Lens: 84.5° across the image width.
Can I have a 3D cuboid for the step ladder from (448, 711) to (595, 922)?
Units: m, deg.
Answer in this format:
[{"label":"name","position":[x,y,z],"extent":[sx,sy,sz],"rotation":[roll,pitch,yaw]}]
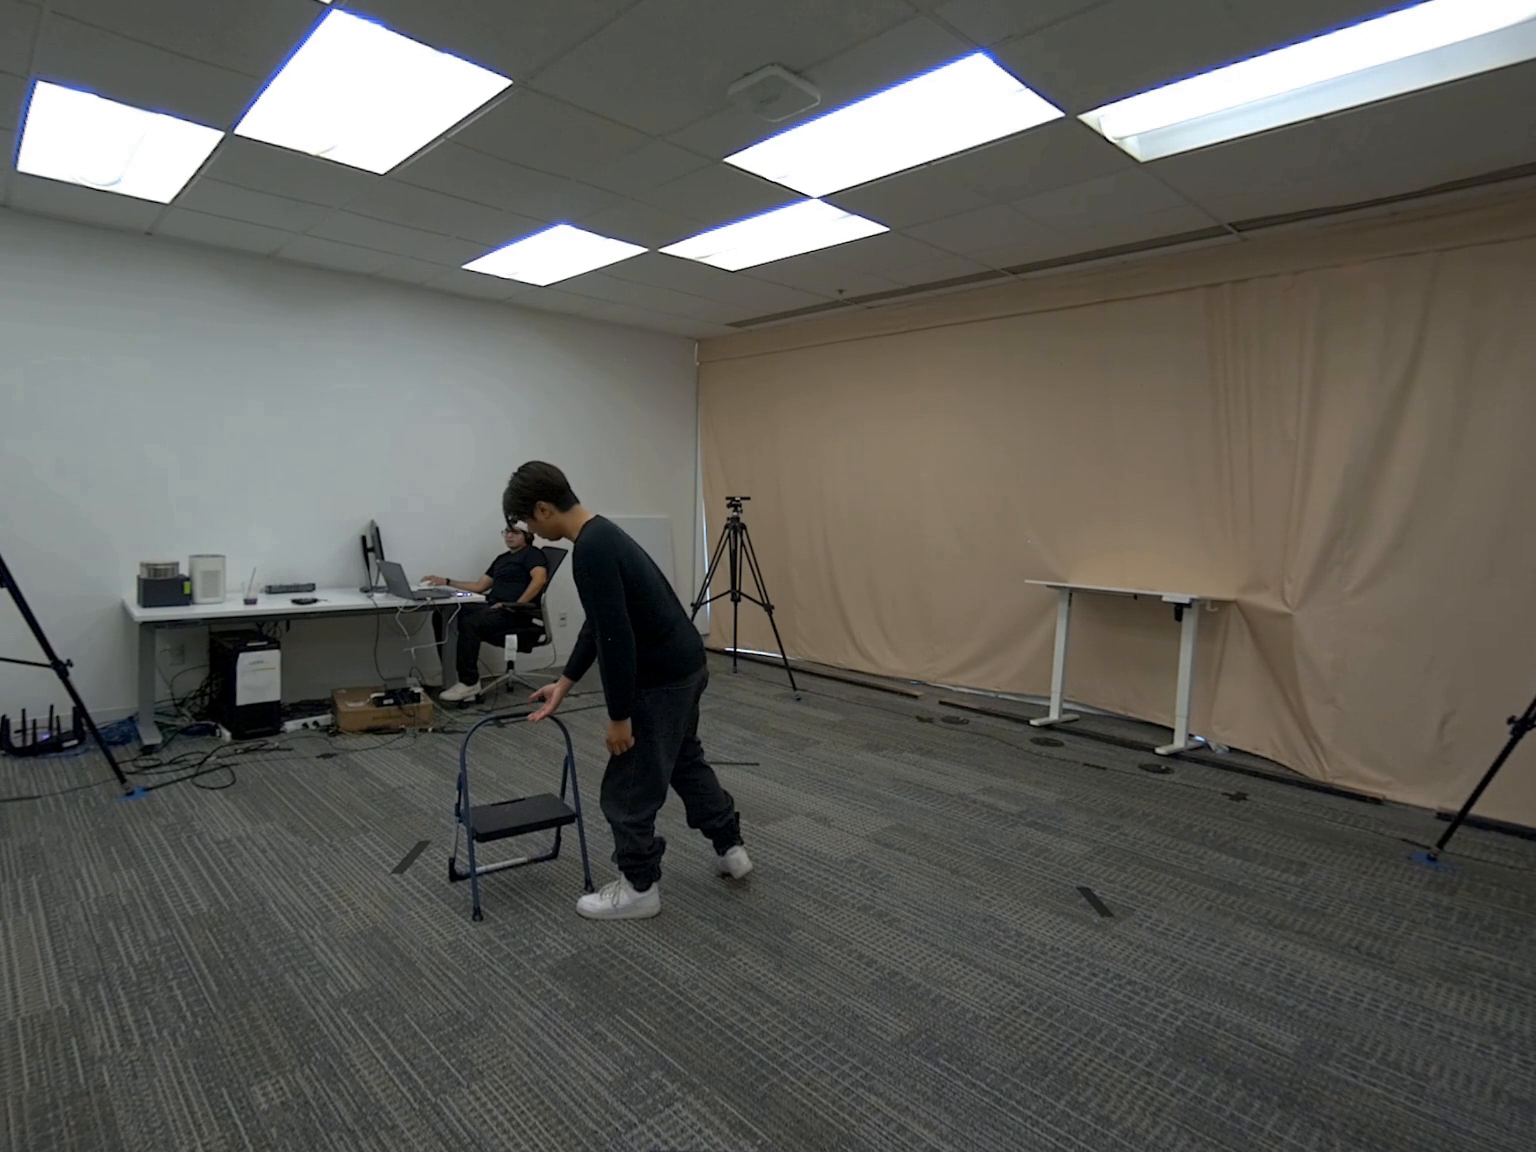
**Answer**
[{"label":"step ladder","position":[-0.880,0.802,2.978],"extent":[0.421,0.604,0.358],"rotation":[-3,5,-35]}]
